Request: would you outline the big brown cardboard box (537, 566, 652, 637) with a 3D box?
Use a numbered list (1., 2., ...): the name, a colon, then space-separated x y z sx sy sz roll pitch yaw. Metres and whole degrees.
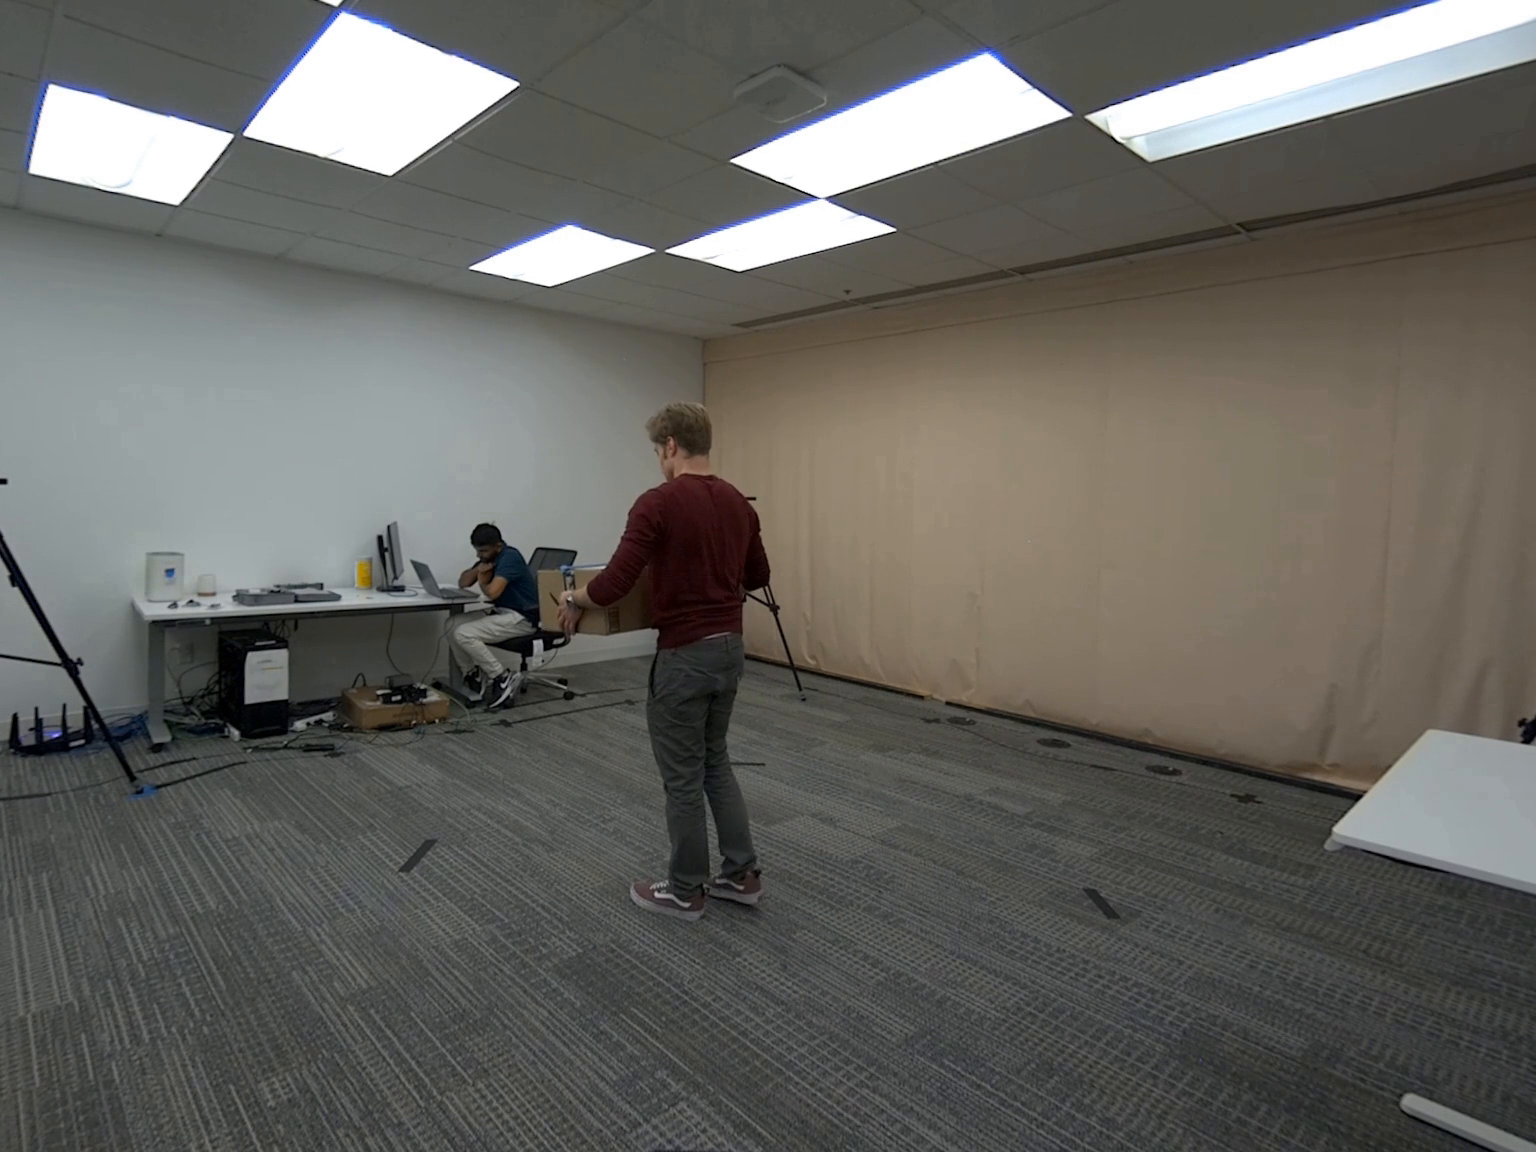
1. big brown cardboard box: -0.490 0.064 3.044 0.576 0.233 0.427 -6 4 -44
